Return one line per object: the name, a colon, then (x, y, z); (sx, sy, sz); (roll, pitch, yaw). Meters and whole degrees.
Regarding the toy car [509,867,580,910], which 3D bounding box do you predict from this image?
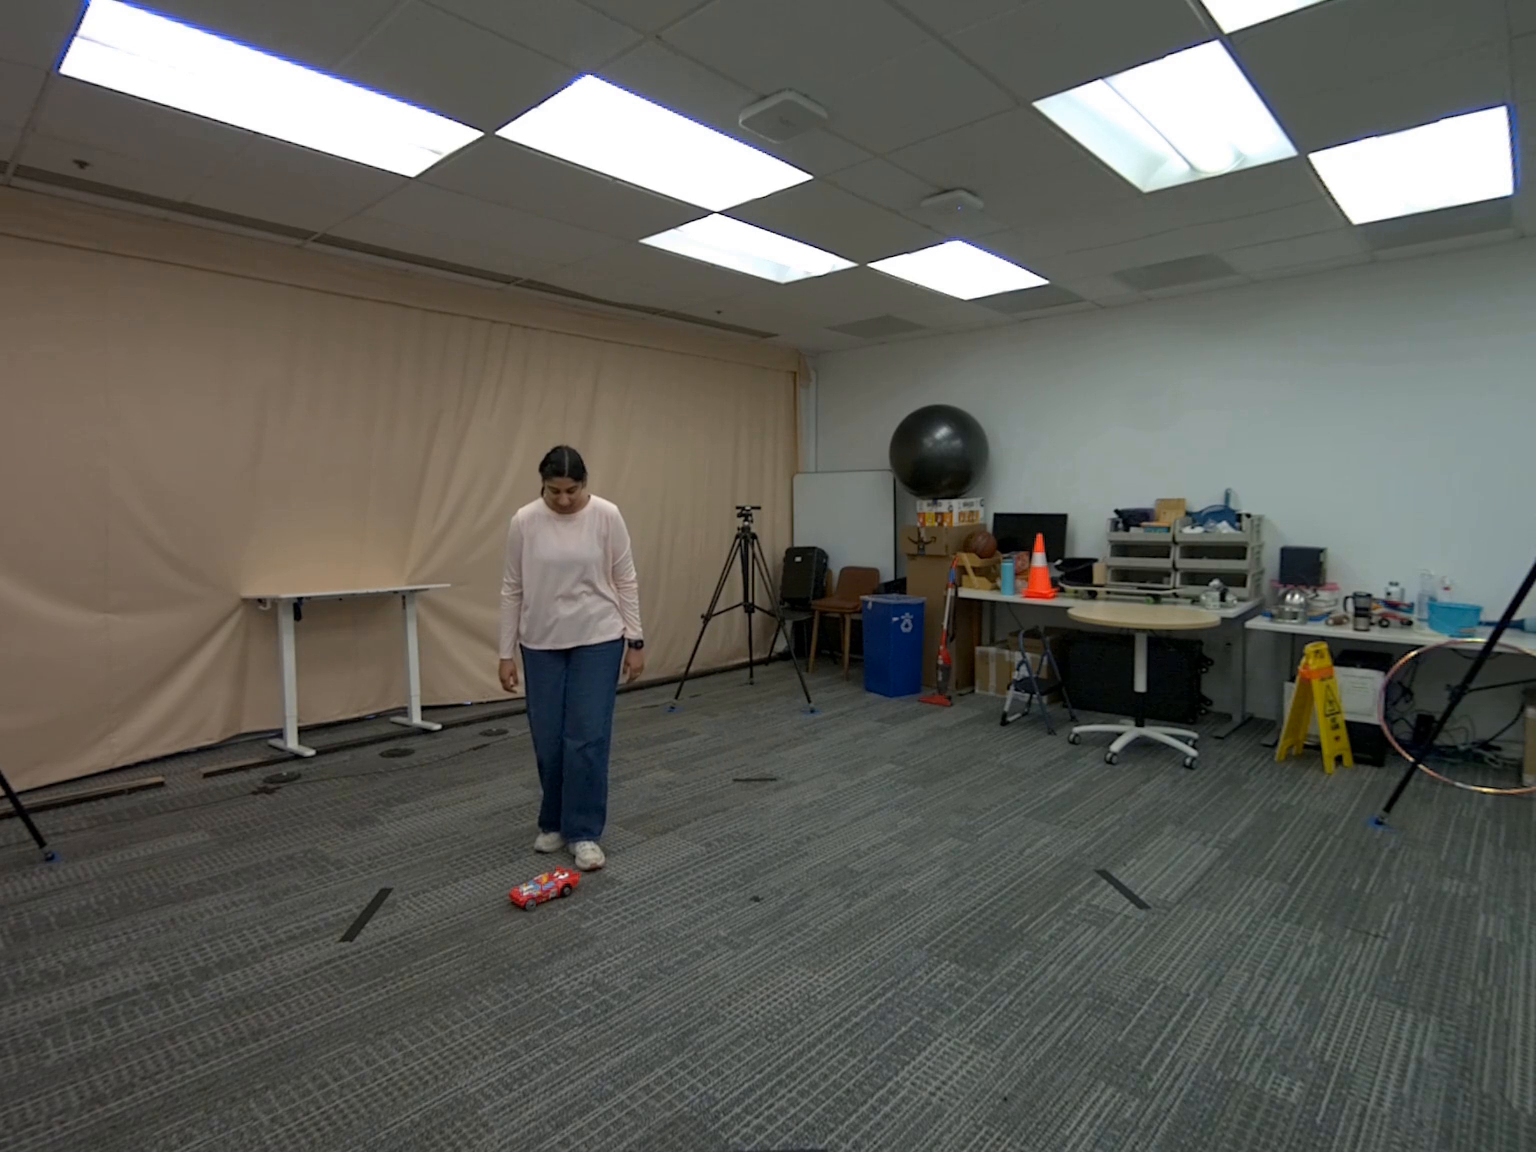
toy car: (-0.794, 1.111, 3.011); (0.248, 0.082, 0.134); (-20, 16, -41)
